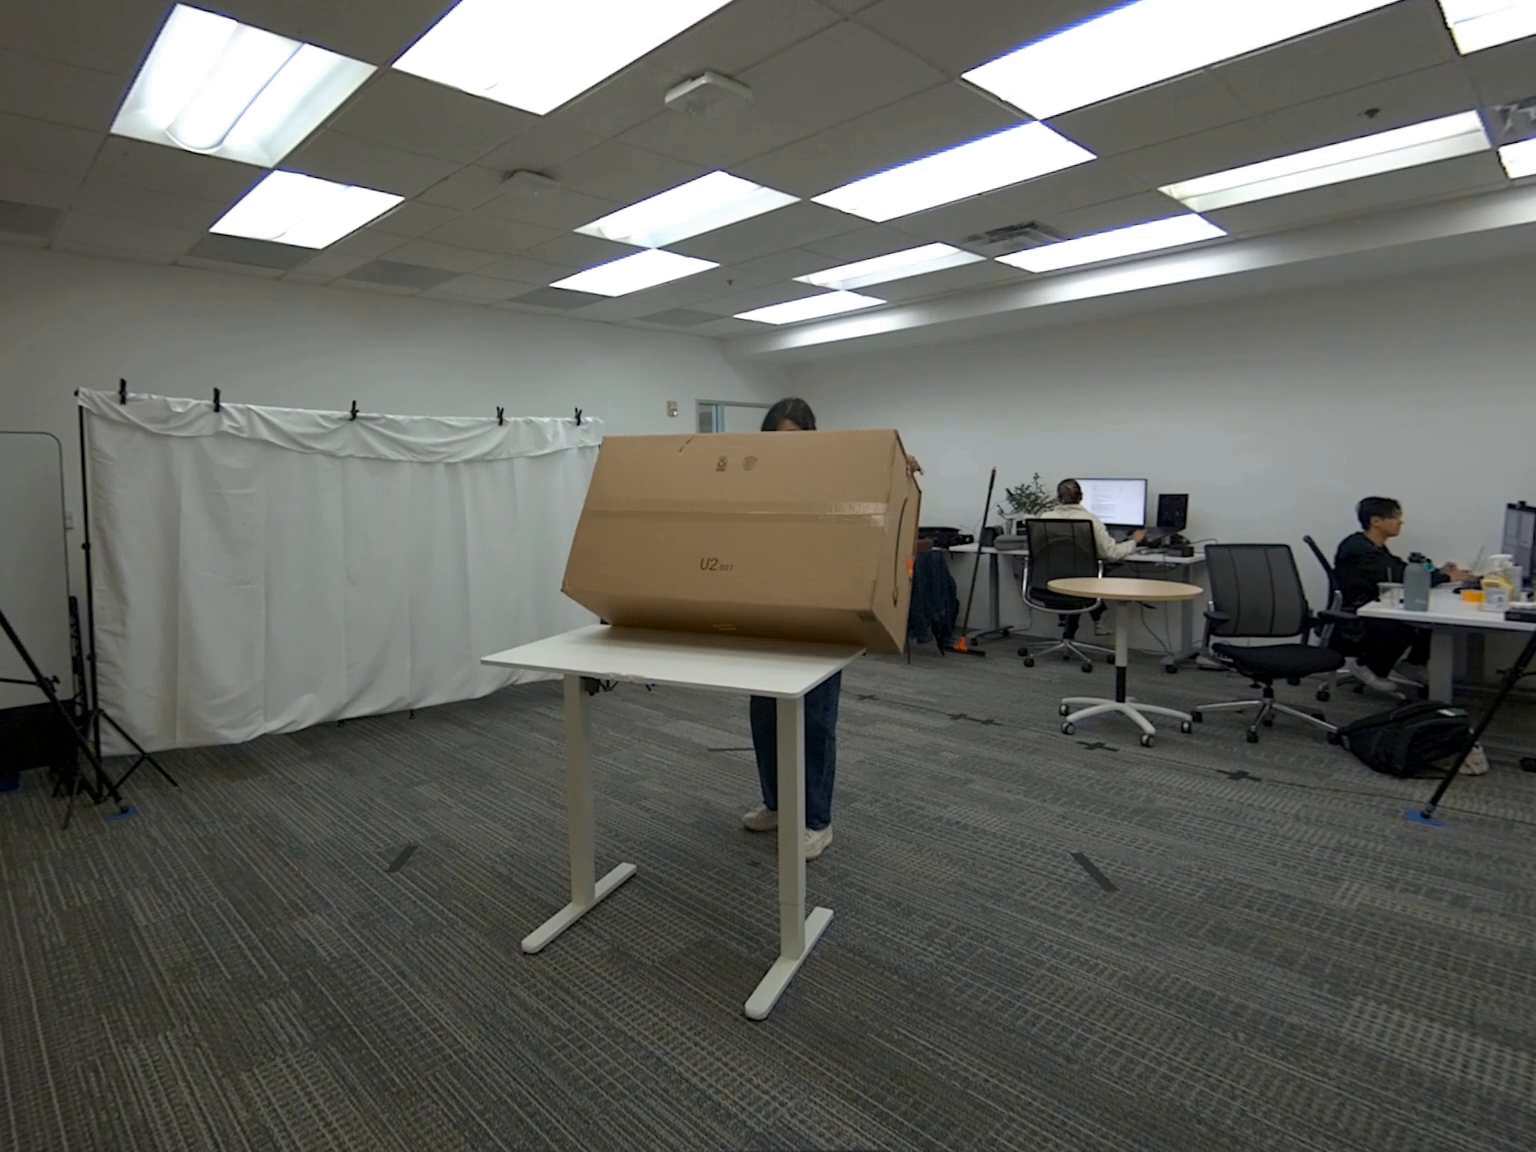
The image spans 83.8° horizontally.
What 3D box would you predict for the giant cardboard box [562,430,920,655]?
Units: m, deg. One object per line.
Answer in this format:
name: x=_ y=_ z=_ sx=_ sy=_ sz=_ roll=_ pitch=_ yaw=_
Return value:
giant cardboard box: x=-0.080 y=-0.116 z=2.793 sx=1.049 sy=0.585 sz=0.411 roll=2 pitch=-23 yaw=24
